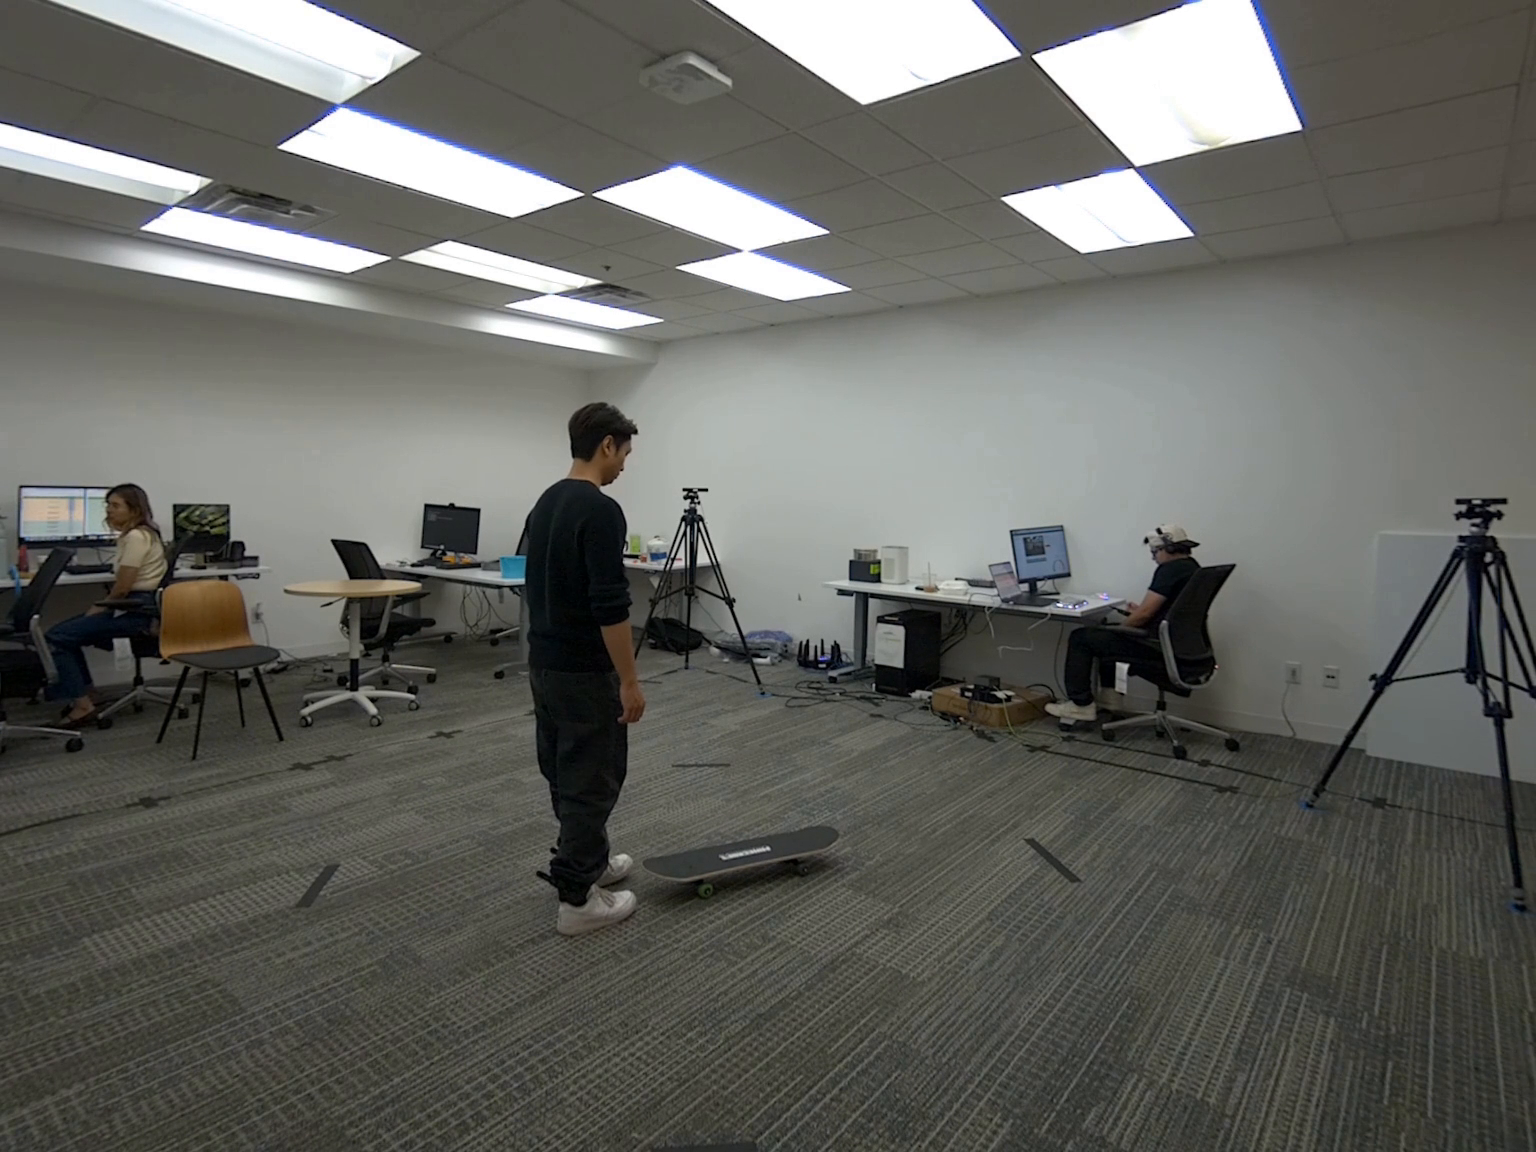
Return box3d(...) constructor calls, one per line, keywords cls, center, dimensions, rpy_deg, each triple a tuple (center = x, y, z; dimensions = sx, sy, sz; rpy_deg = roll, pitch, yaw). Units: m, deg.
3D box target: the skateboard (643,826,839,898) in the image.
box3d(cls="skateboard", center=(-0.087, 1.021, 3.053), dimensions=(0.765, 0.110, 0.199), rpy_deg=(-2, 6, -28))
